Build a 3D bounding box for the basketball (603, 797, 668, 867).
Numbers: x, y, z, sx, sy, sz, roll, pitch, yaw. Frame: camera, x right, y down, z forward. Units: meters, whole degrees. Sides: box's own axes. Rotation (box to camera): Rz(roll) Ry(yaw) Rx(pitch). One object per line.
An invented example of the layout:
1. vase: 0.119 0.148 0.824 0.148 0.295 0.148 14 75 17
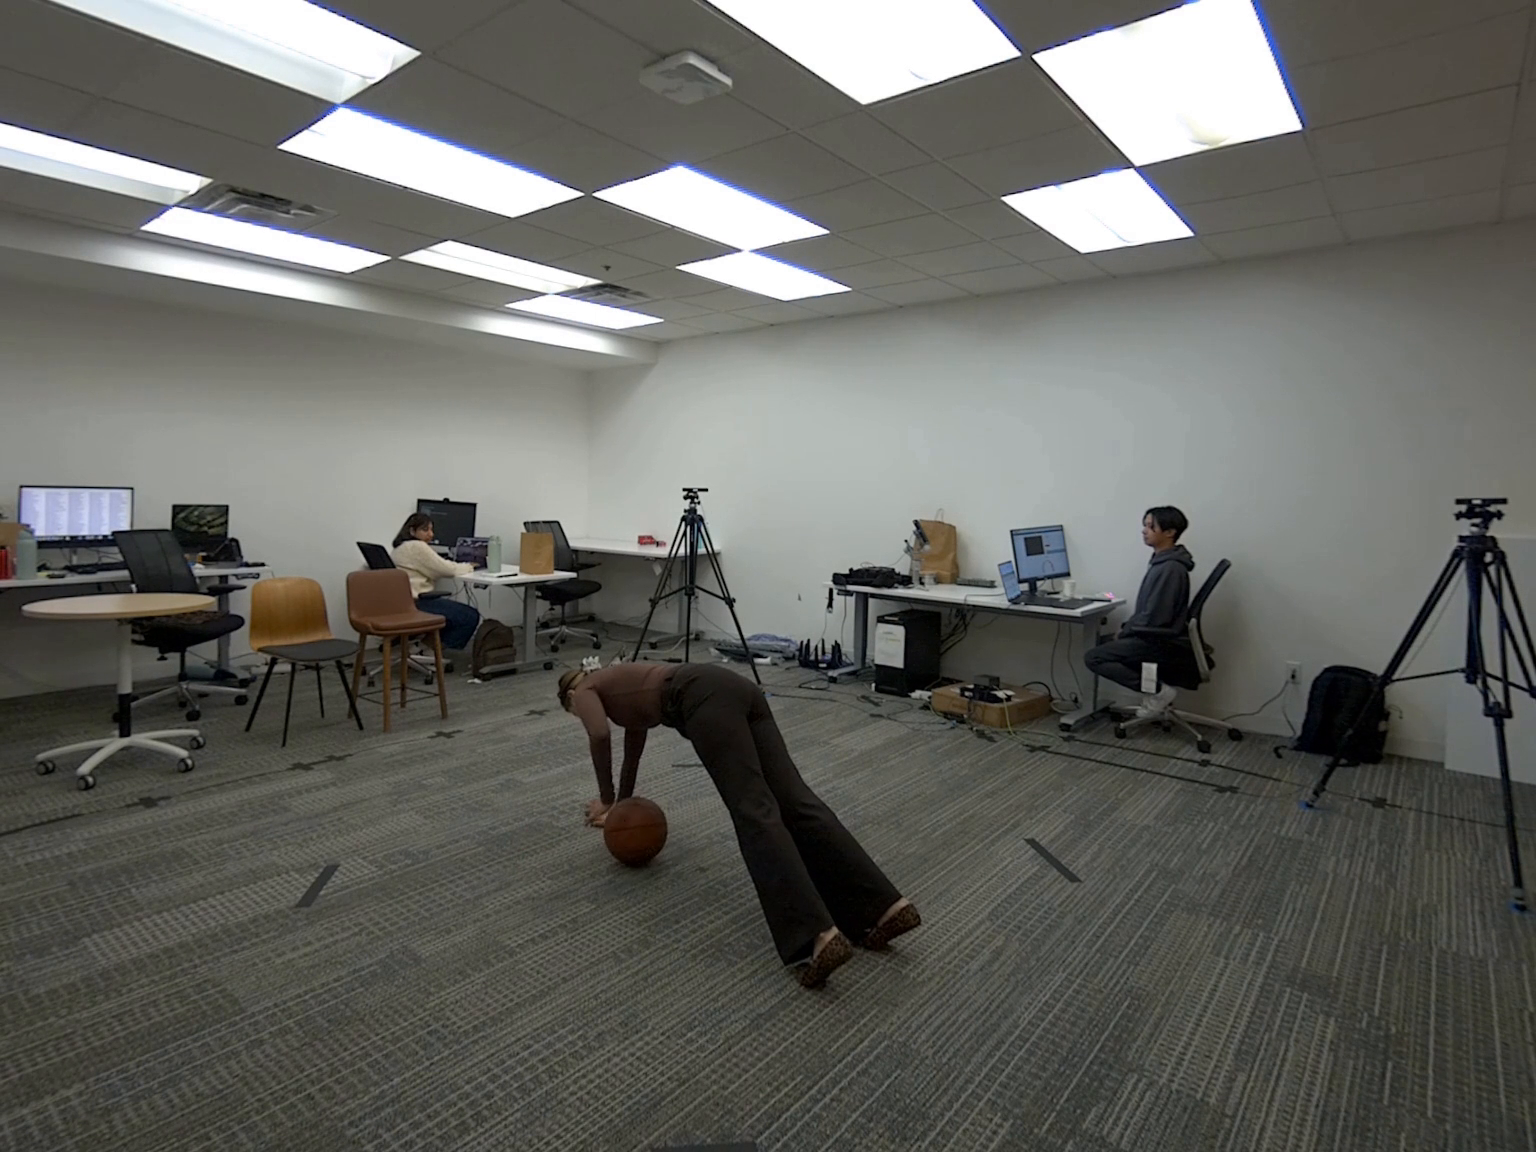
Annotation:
1. basketball: -0.501 0.939 3.156 0.236 0.235 0.237 1 4 -2
